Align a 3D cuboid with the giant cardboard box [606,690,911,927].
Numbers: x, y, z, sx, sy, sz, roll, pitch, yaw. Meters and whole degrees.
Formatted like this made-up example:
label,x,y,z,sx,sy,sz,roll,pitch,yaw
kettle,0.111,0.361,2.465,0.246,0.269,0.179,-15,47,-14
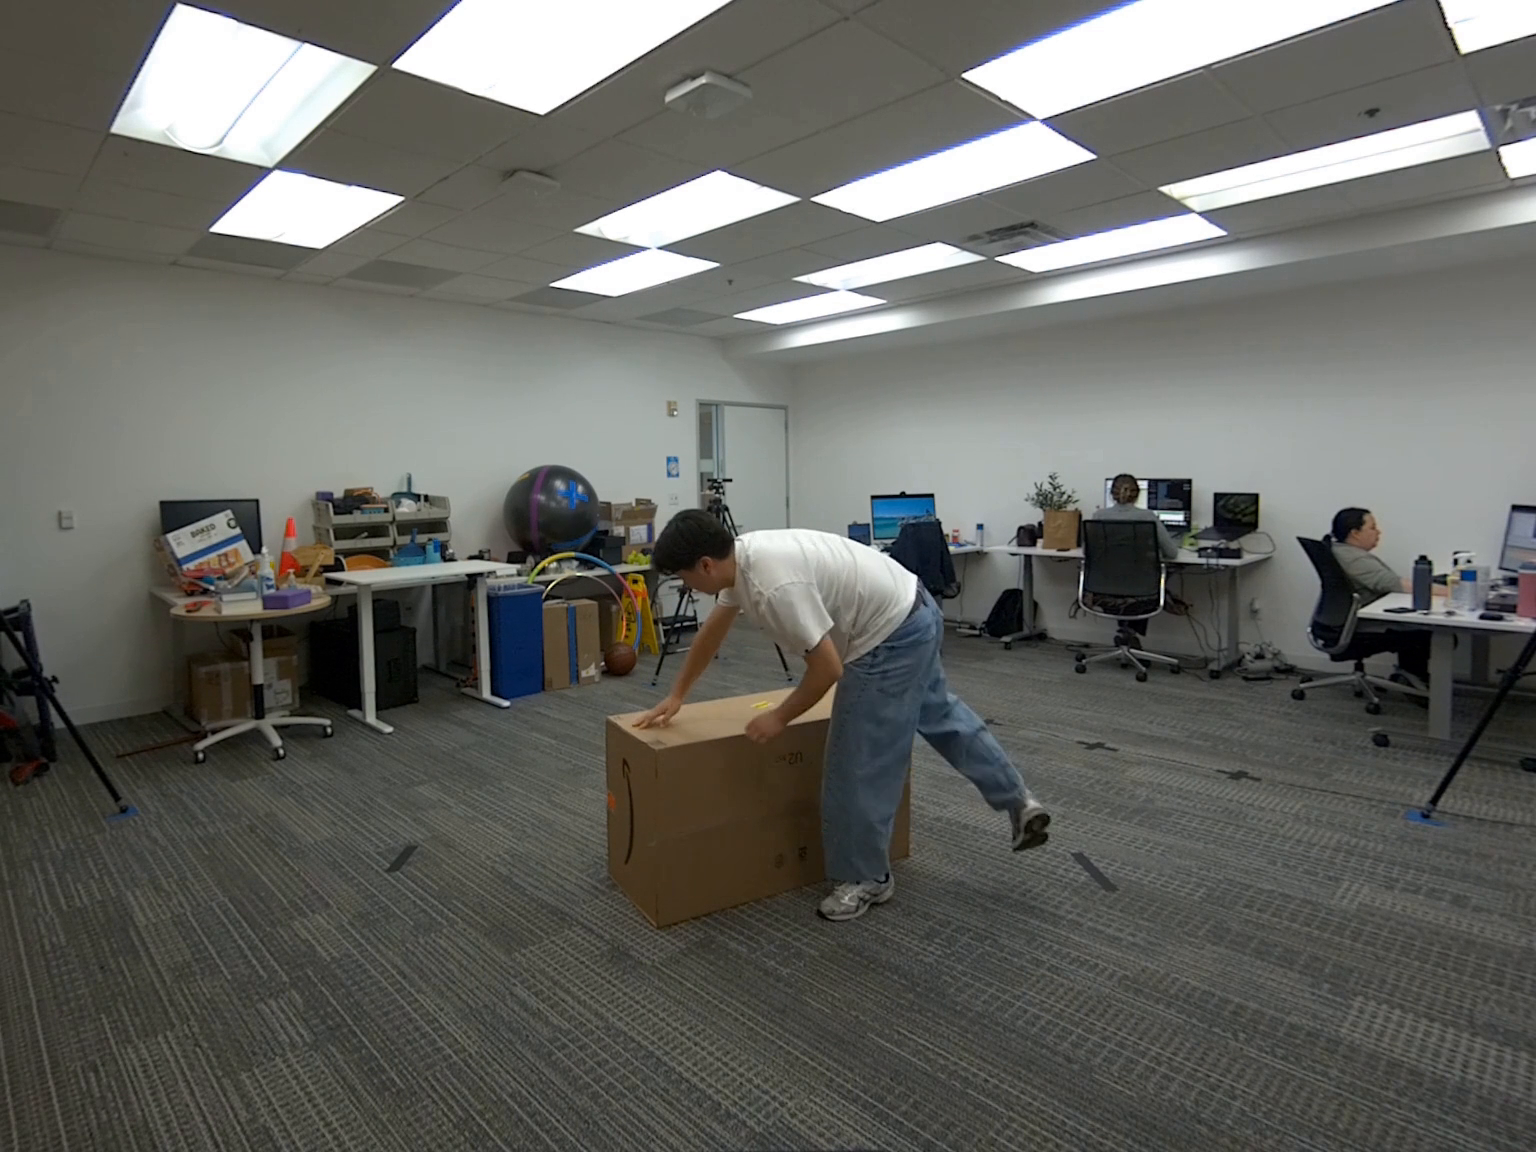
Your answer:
label,x,y,z,sx,sy,sz,roll,pitch,yaw
giant cardboard box,-0.027,0.762,3.070,1.002,0.575,0.438,-4,6,-29
